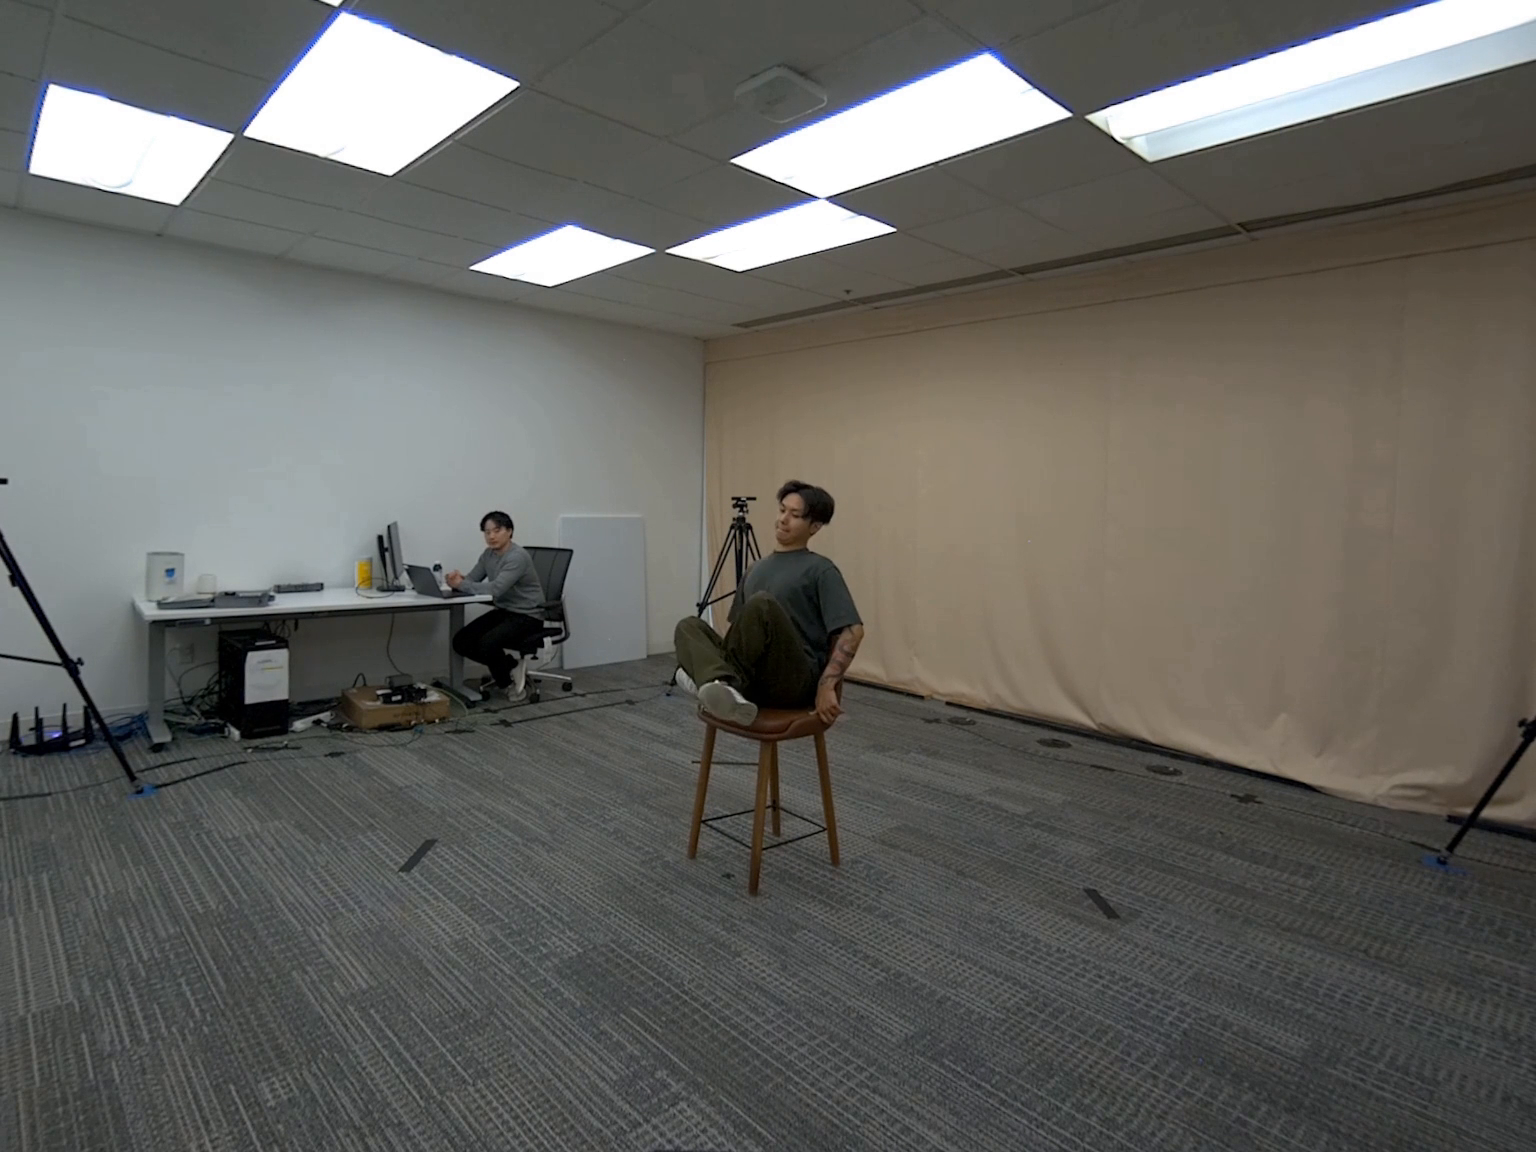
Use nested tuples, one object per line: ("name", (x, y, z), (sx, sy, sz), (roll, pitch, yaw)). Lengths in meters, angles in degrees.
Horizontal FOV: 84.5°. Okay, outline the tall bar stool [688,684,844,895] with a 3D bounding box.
("tall bar stool", (-0.001, 0.663, 3.219), (0.456, 0.889, 0.468), (1, 2, -39))
